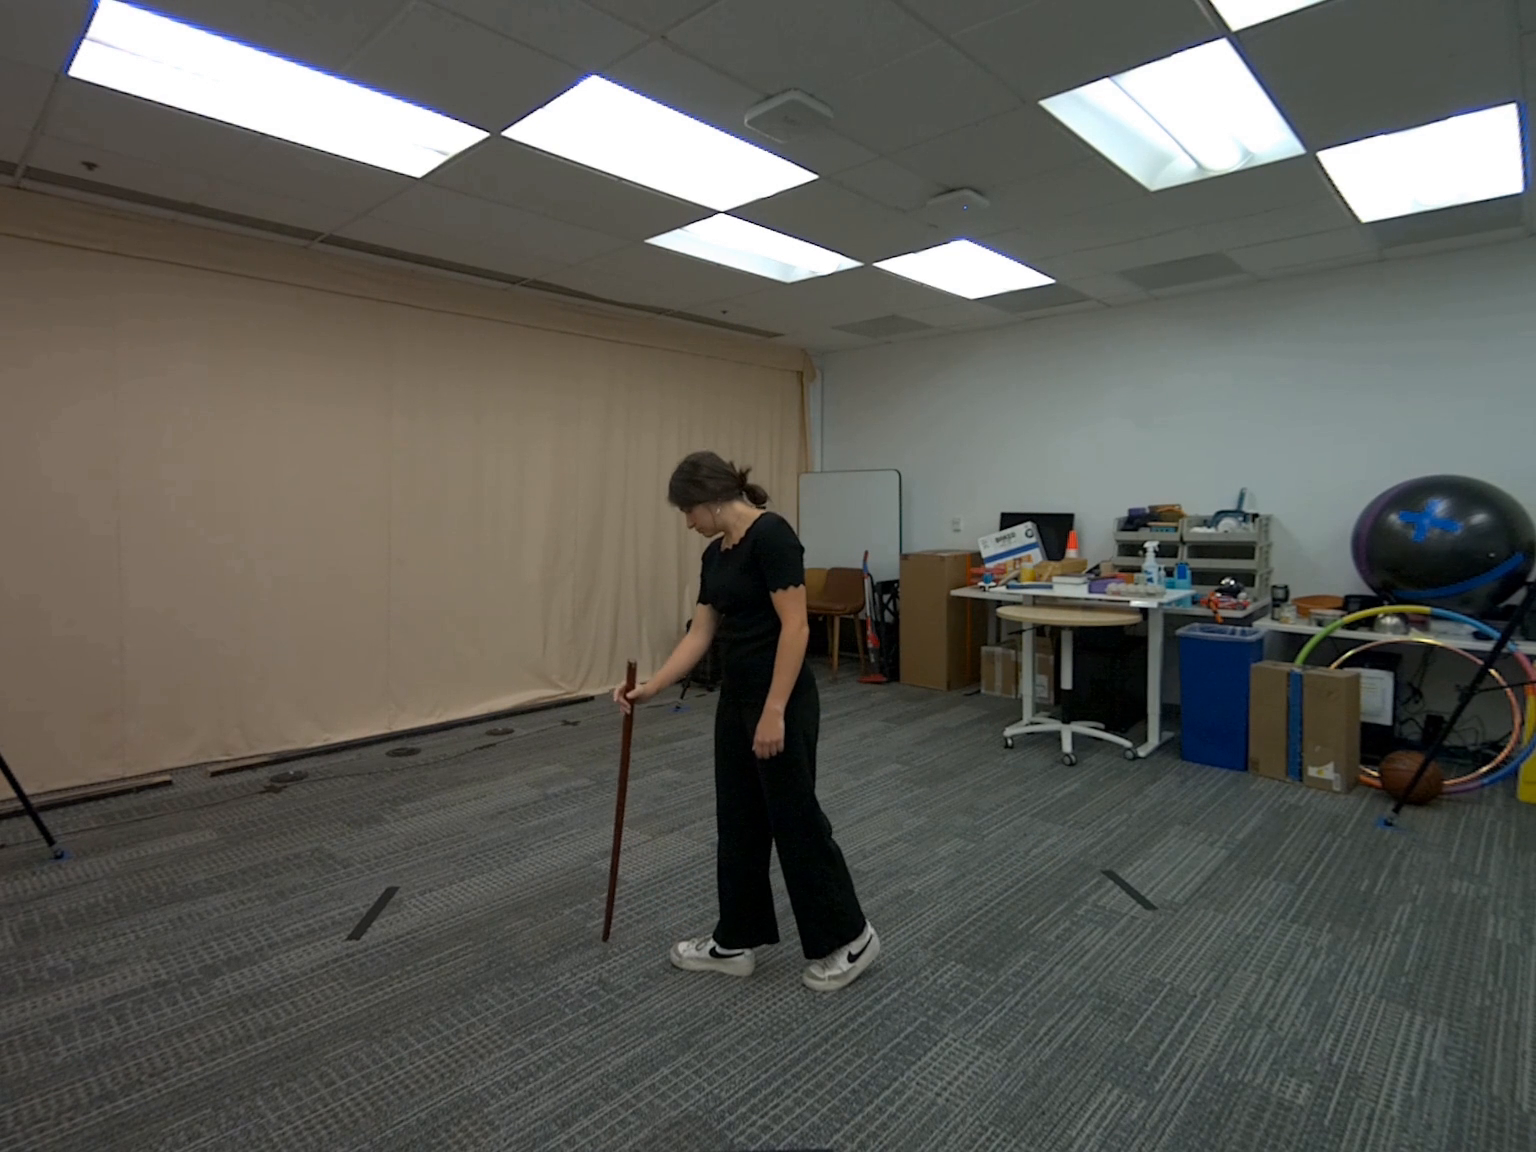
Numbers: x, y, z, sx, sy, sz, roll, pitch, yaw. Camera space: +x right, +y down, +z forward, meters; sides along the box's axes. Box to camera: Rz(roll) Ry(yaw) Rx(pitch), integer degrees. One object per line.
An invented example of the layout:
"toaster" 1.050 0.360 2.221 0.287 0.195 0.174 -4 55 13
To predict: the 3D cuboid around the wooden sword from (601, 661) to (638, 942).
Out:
"wooden sword" -0.444 0.723 2.516 0.051 1.015 0.024 10 21 2
